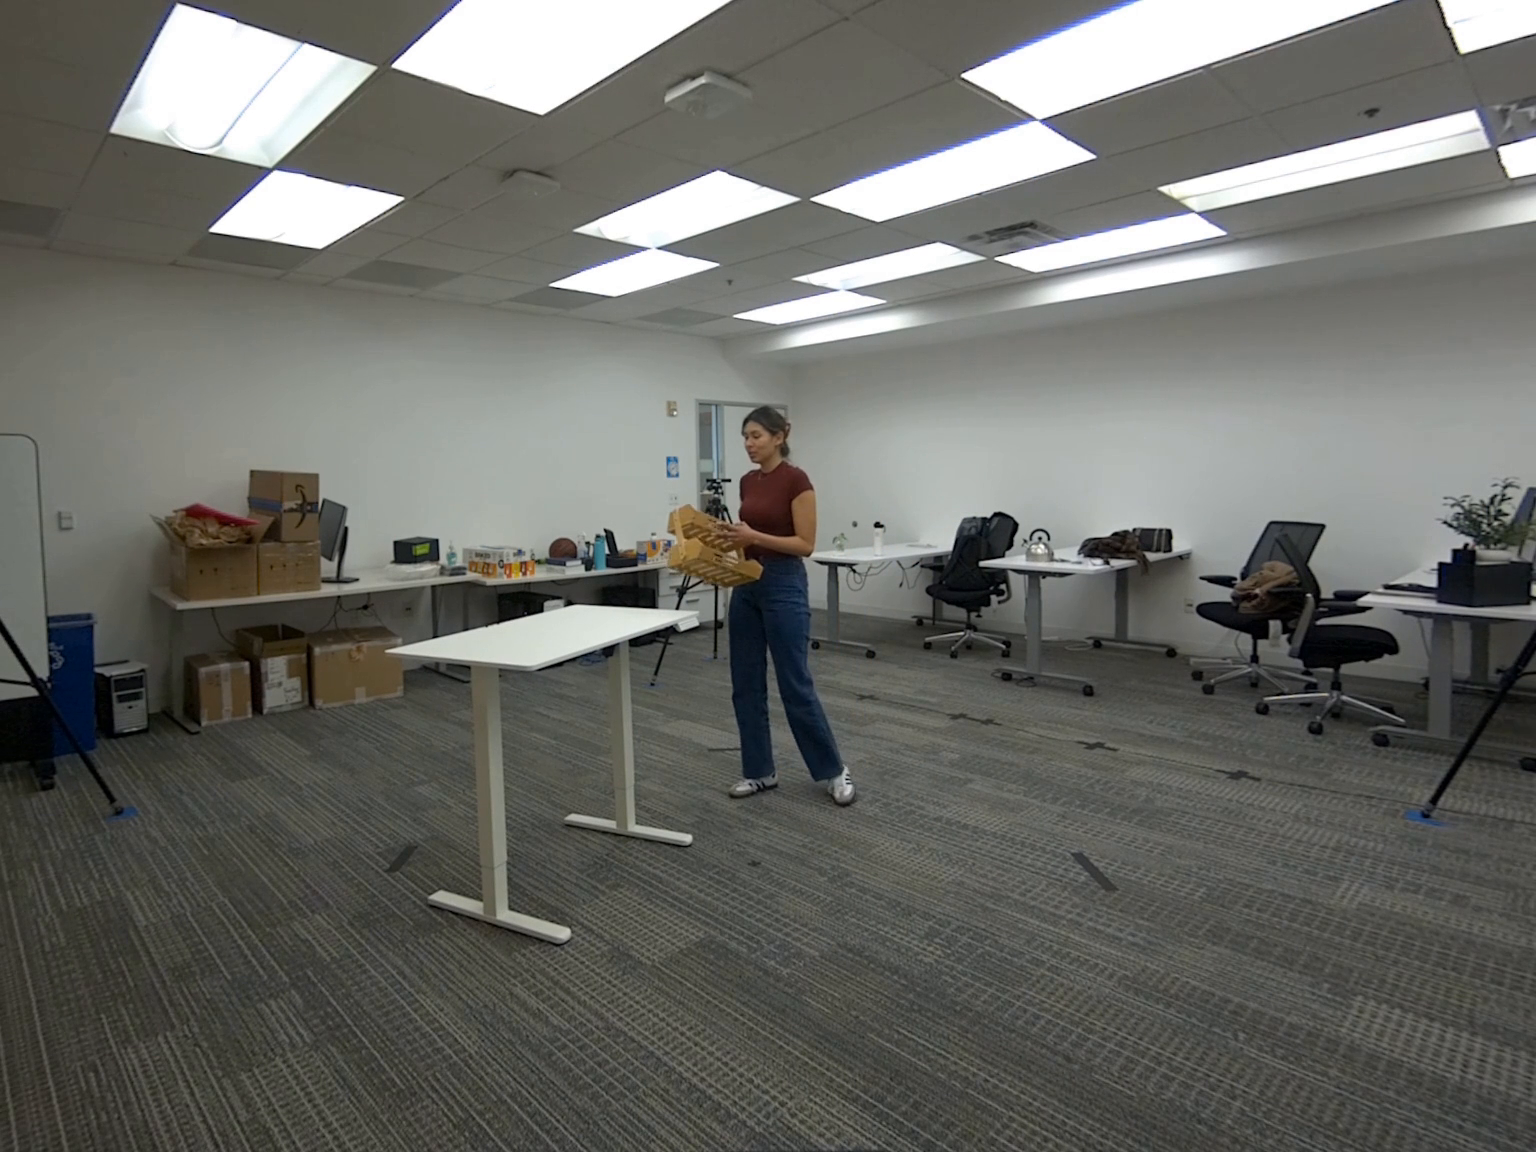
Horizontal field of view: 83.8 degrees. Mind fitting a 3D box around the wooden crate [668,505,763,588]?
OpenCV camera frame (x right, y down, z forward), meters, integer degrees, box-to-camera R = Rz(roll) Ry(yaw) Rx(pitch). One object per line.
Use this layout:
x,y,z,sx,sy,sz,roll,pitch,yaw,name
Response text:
-0.216,-0.137,3.515,0.314,0.277,0.307,21,-24,-33,wooden crate
